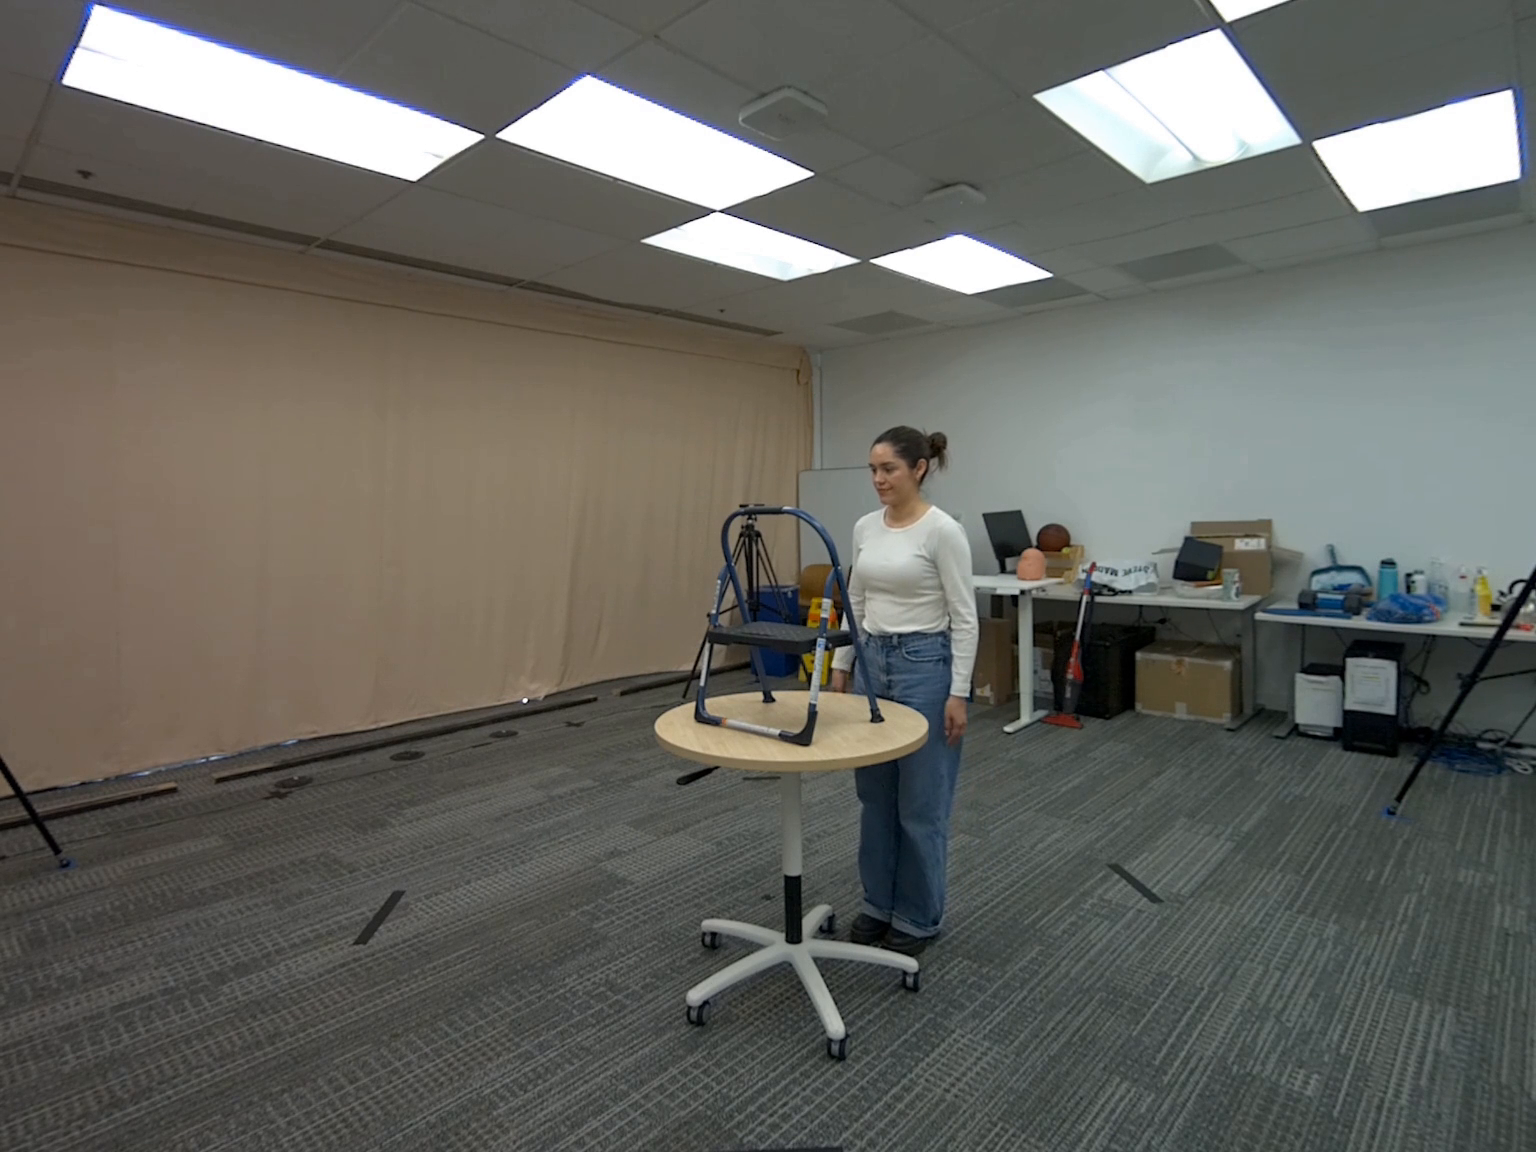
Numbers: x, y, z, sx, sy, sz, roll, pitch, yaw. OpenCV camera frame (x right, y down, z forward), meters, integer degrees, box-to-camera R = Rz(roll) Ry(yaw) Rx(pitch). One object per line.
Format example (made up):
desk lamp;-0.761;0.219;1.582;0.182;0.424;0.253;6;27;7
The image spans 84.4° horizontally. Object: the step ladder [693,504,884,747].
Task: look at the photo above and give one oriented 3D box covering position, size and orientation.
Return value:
step ladder;0.050;0.108;2.363;0.444;0.605;0.339;1;3;41
